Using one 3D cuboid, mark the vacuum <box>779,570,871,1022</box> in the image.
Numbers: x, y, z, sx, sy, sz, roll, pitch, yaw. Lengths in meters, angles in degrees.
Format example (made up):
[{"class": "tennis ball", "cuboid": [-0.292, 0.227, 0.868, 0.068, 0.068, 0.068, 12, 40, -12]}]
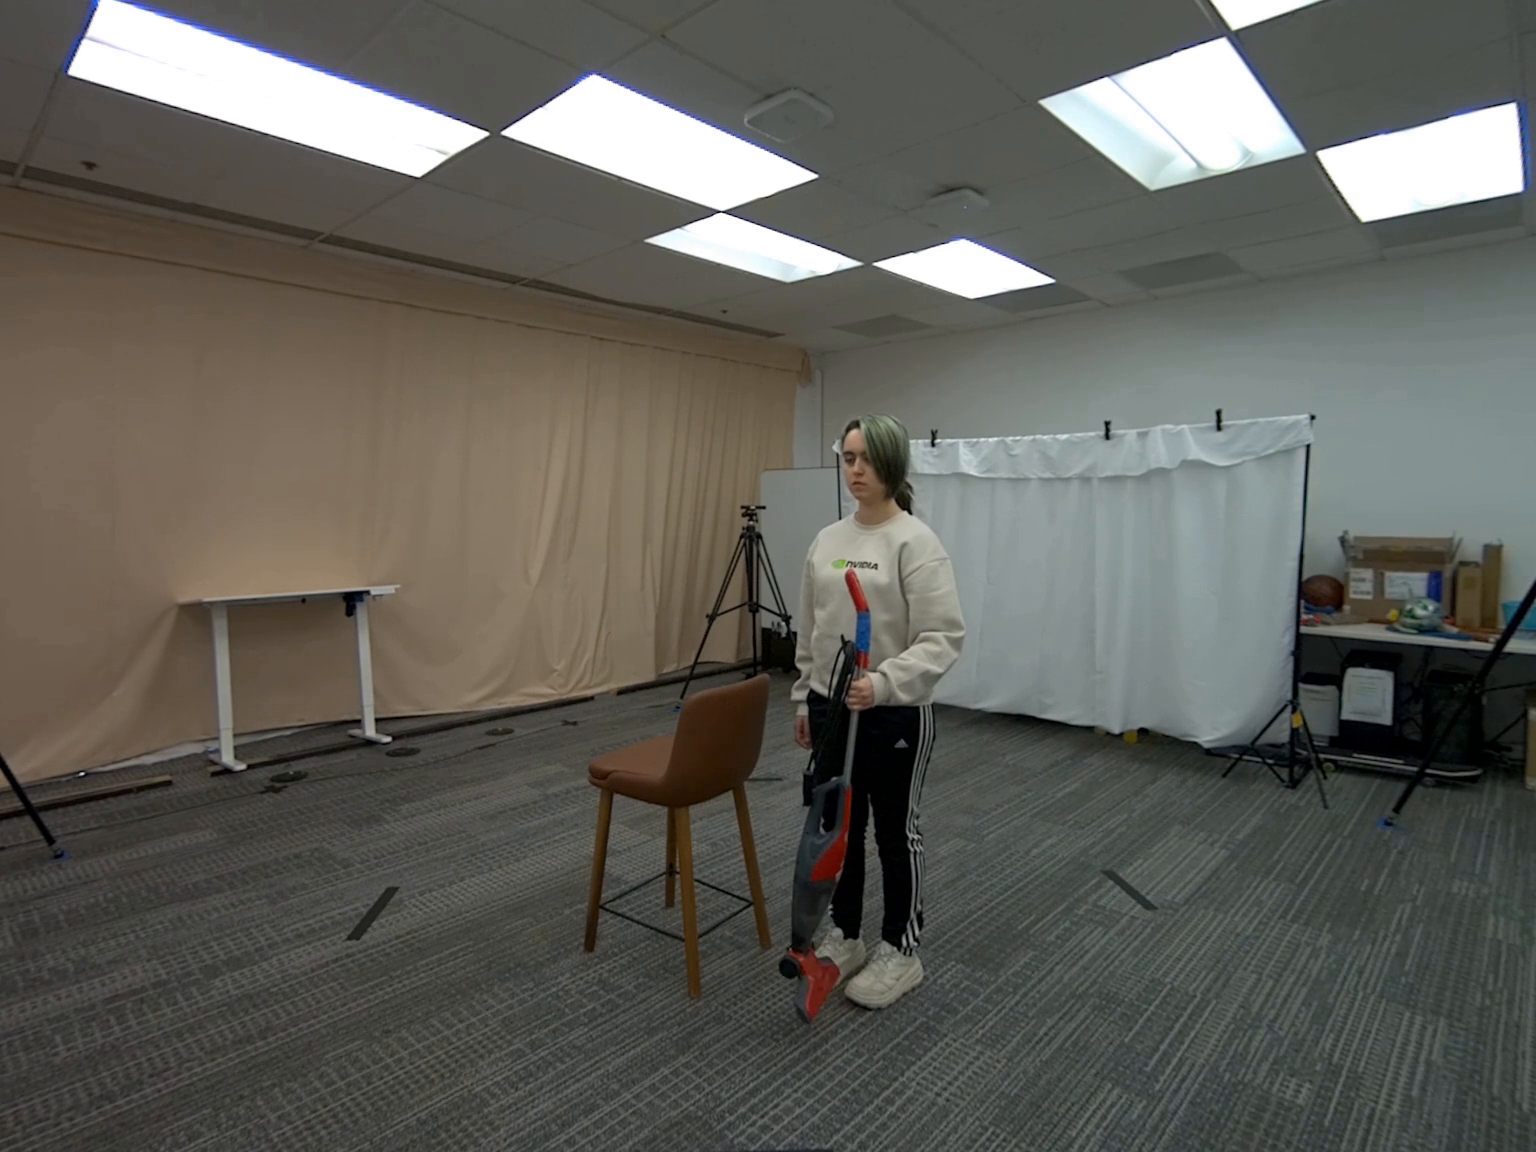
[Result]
[{"class": "vacuum", "cuboid": [0.173, 0.533, 2.127, 0.147, 1.047, 0.247, 8, 5, 19]}]
